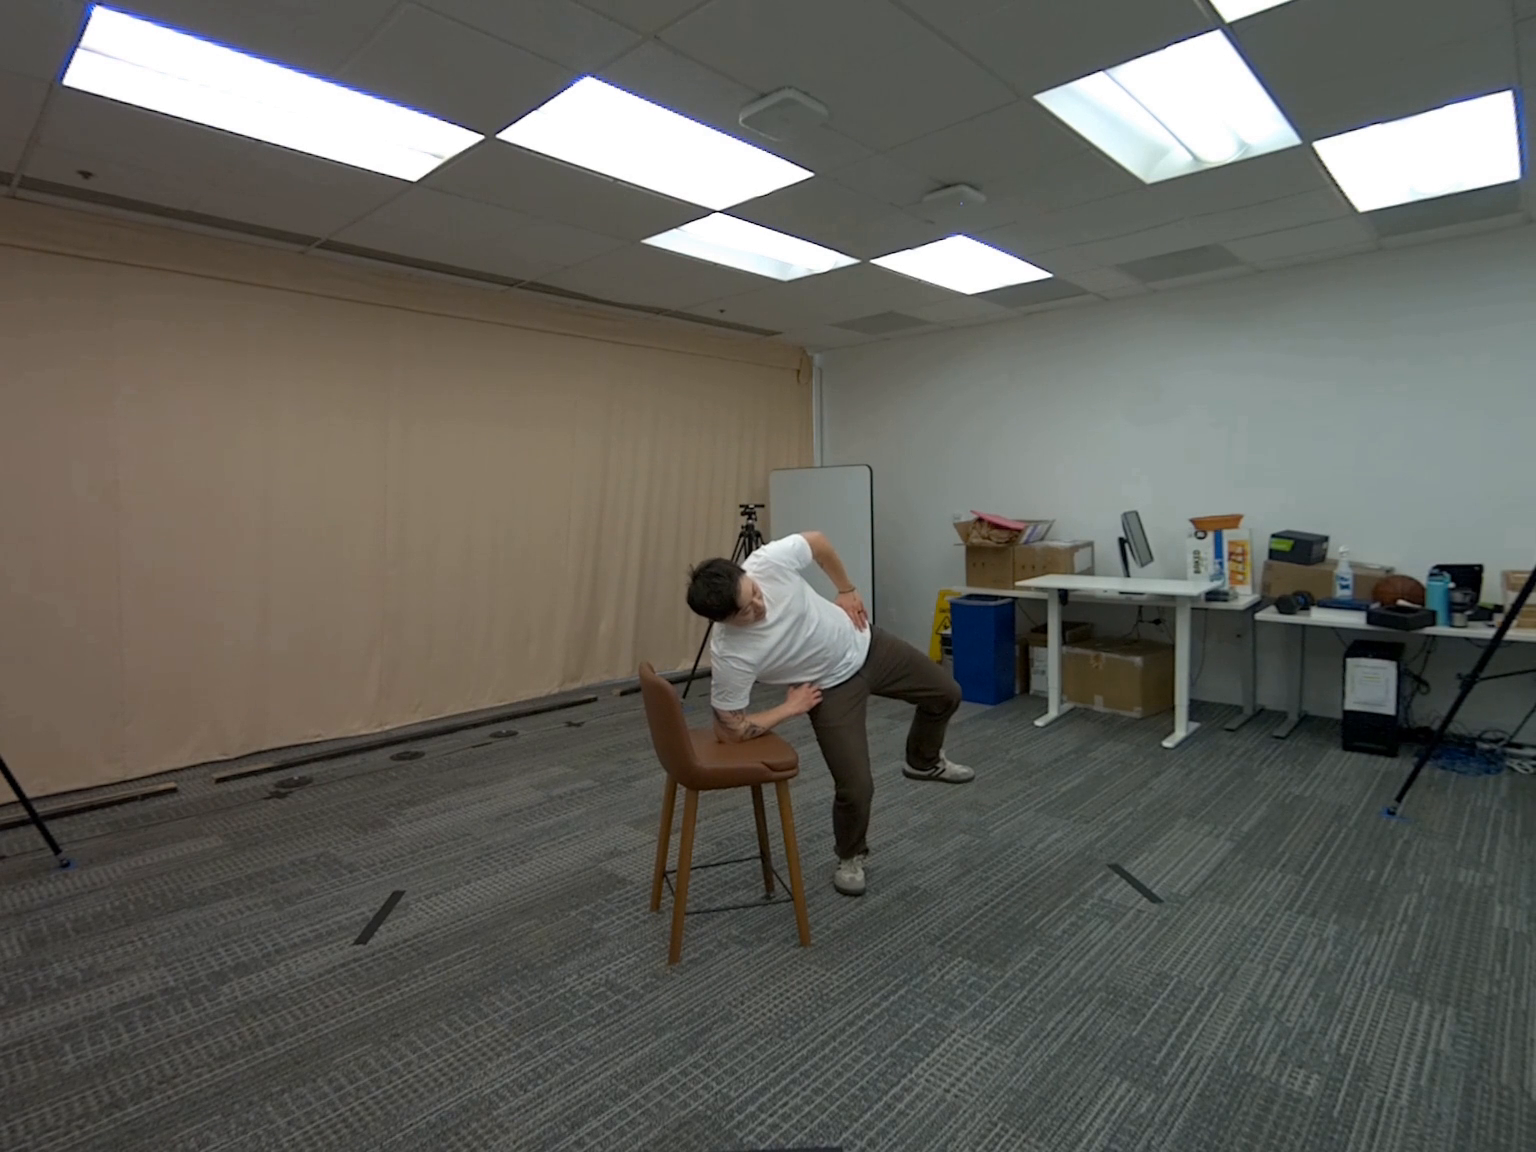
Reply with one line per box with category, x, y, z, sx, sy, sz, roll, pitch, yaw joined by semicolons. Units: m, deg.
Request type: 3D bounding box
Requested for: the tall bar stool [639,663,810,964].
tall bar stool;-0.149;0.727;2.763;0.460;0.888;0.465;-3;4;-16
